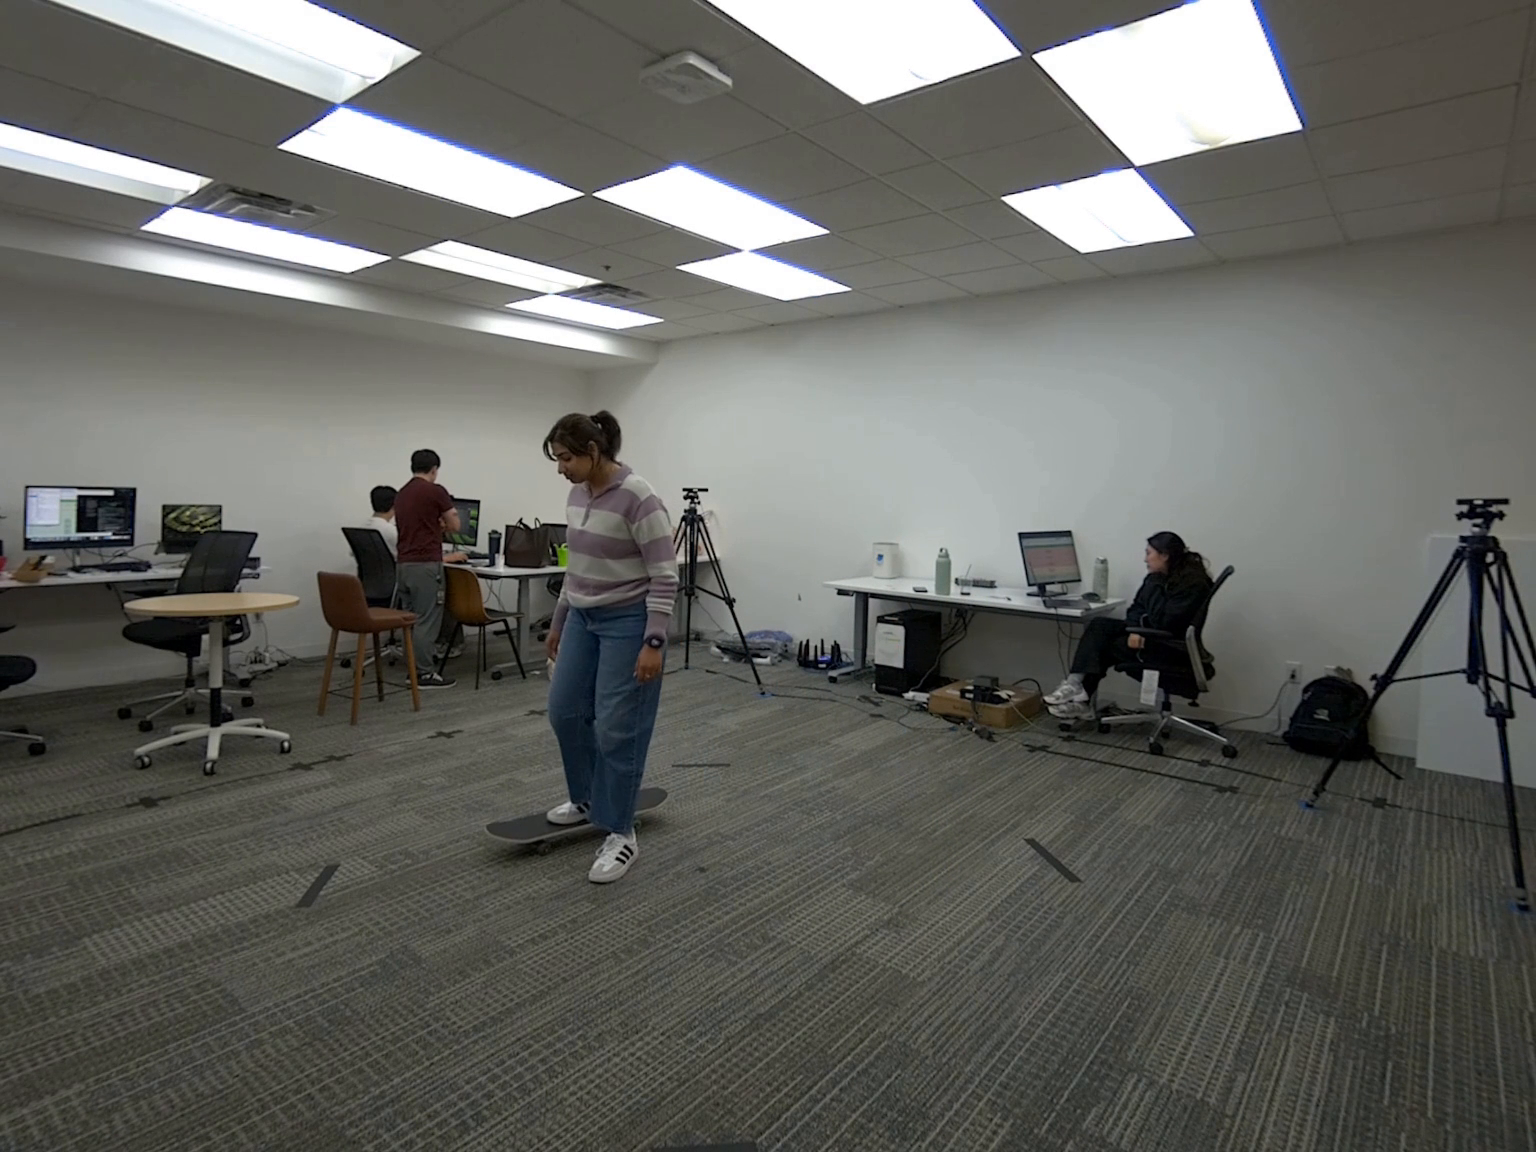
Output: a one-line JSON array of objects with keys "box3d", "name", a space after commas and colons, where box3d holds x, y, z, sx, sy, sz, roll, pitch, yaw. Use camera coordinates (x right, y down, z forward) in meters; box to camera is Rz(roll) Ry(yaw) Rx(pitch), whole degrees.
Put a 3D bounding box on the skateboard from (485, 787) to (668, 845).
[{"box3d": [-0.756, 0.978, 3.378, 0.762, 0.110, 0.200, -3, 9, -38], "name": "skateboard"}]
